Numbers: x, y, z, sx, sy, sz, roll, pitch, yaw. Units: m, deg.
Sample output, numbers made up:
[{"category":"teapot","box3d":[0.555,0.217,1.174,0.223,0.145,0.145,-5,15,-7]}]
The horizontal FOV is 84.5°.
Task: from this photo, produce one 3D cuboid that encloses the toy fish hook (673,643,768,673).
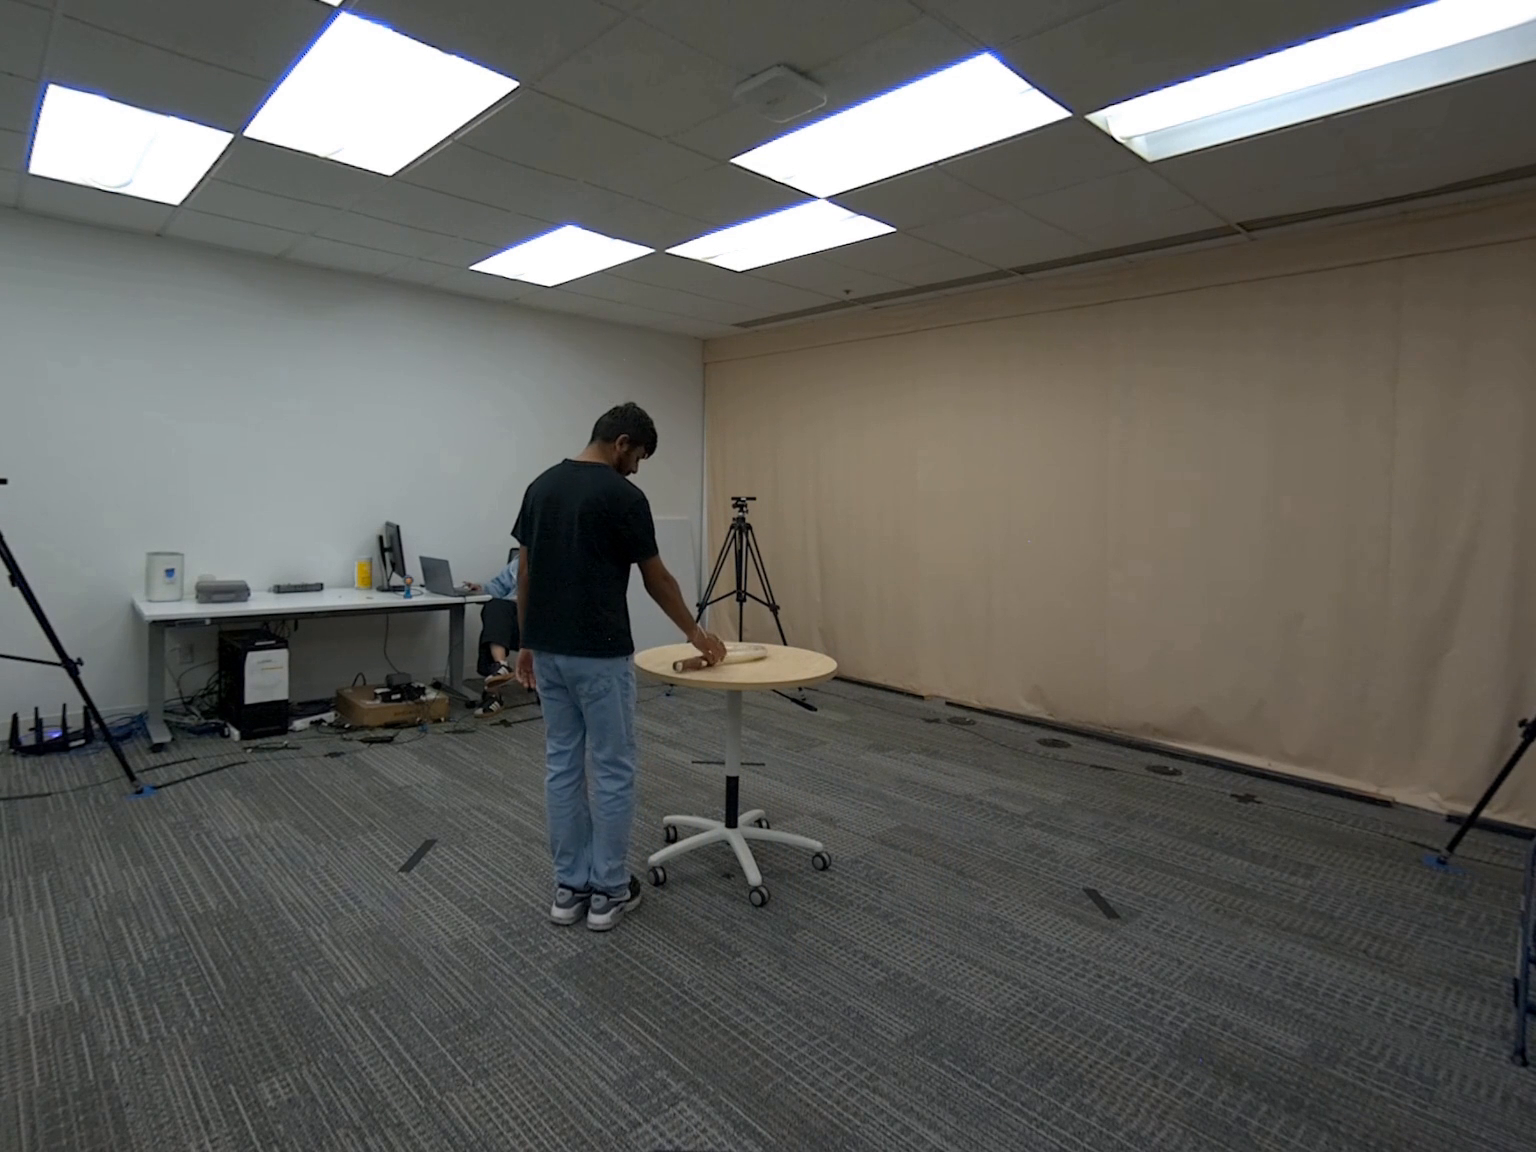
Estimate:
[{"category":"toy fish hook","box3d":[-0.214,0.307,3.132,0.230,0.048,0.495,-2,1,40]}]
